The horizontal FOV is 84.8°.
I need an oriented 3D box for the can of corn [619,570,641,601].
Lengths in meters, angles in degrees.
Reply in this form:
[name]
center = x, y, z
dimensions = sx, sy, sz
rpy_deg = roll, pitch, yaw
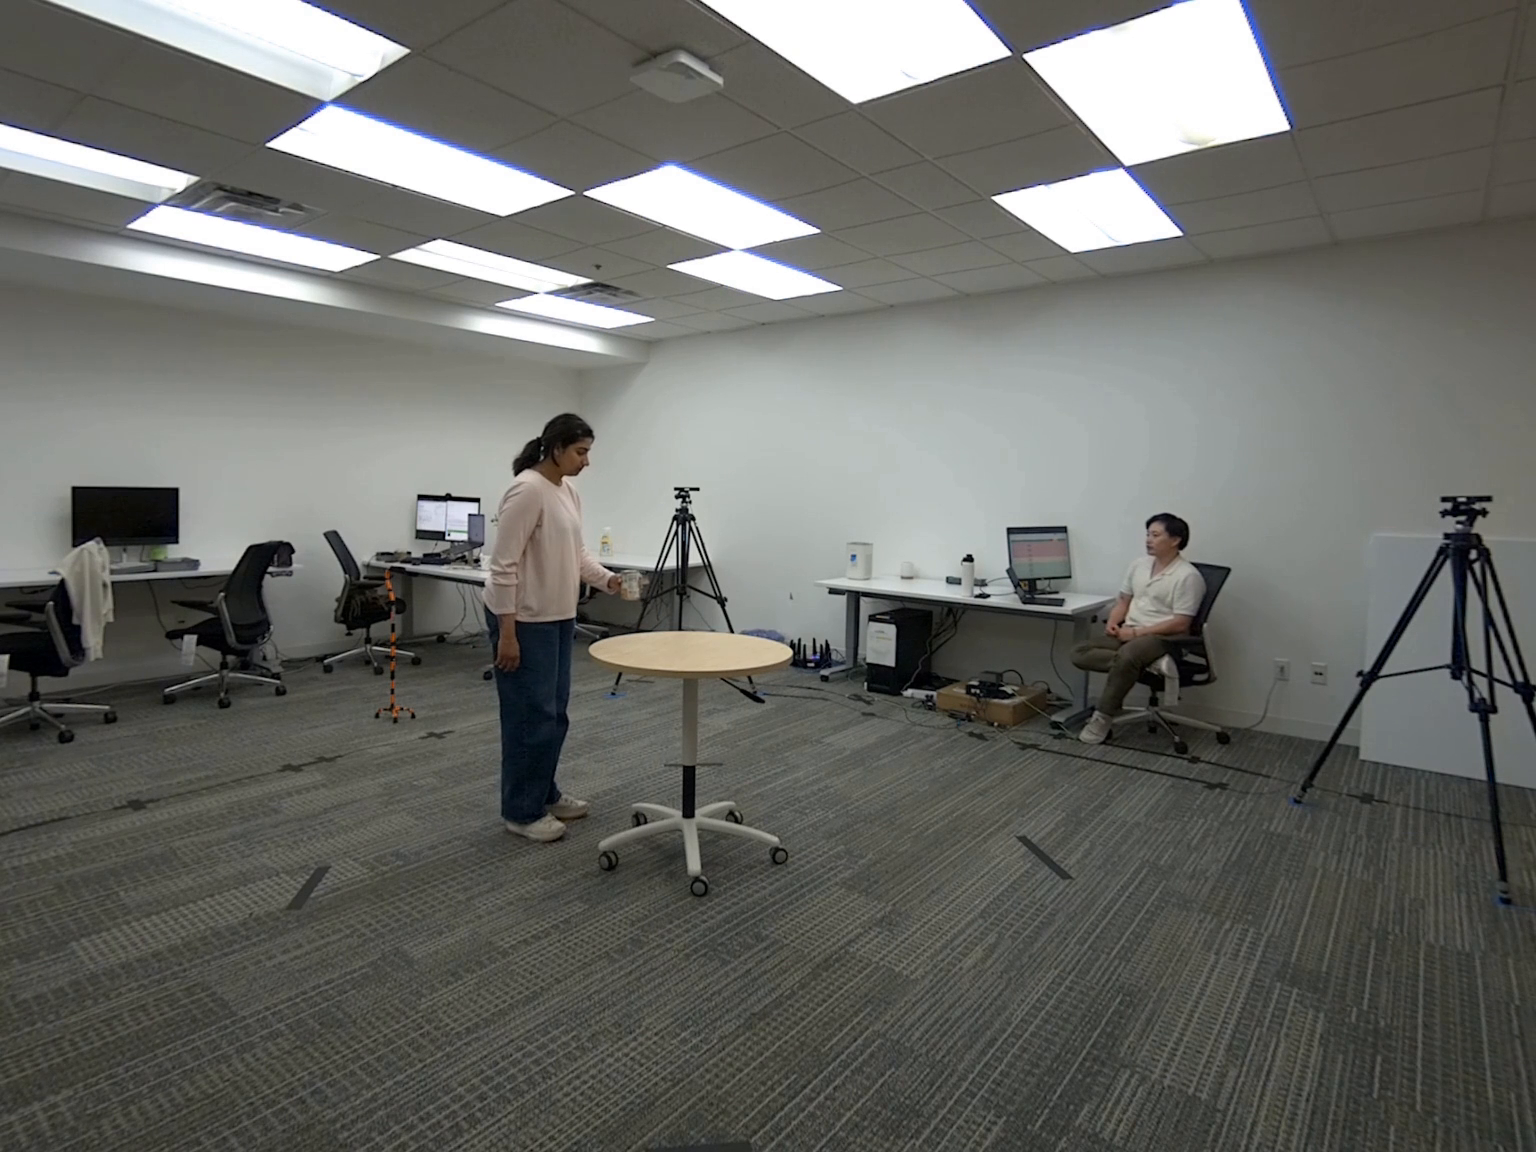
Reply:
[can of corn]
center = -0.570, 0.034, 3.407
dimensions = 0.074, 0.111, 0.074
rpy_deg = 0, 3, -2
